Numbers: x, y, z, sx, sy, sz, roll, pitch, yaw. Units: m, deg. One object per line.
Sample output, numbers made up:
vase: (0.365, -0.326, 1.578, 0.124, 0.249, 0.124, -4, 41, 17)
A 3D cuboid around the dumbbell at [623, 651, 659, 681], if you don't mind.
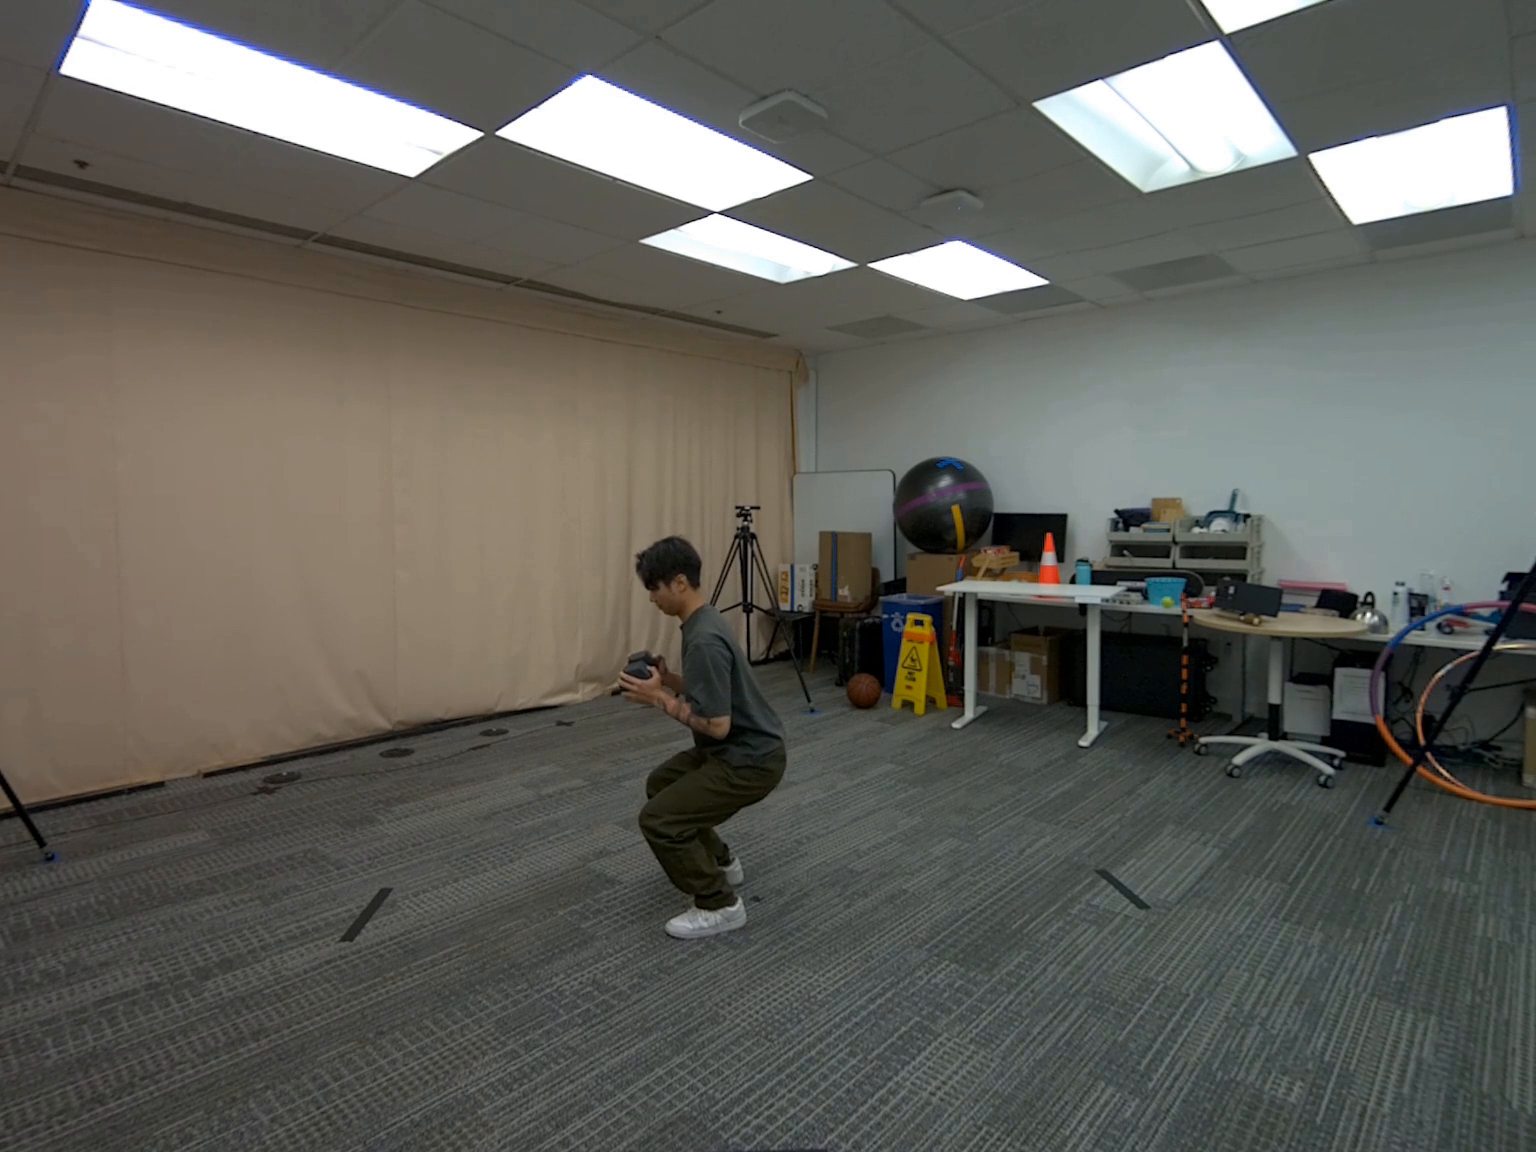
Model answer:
dumbbell: (-0.436, 0.340, 2.931, 0.109, 0.122, 0.295, -45, 5, -1)
